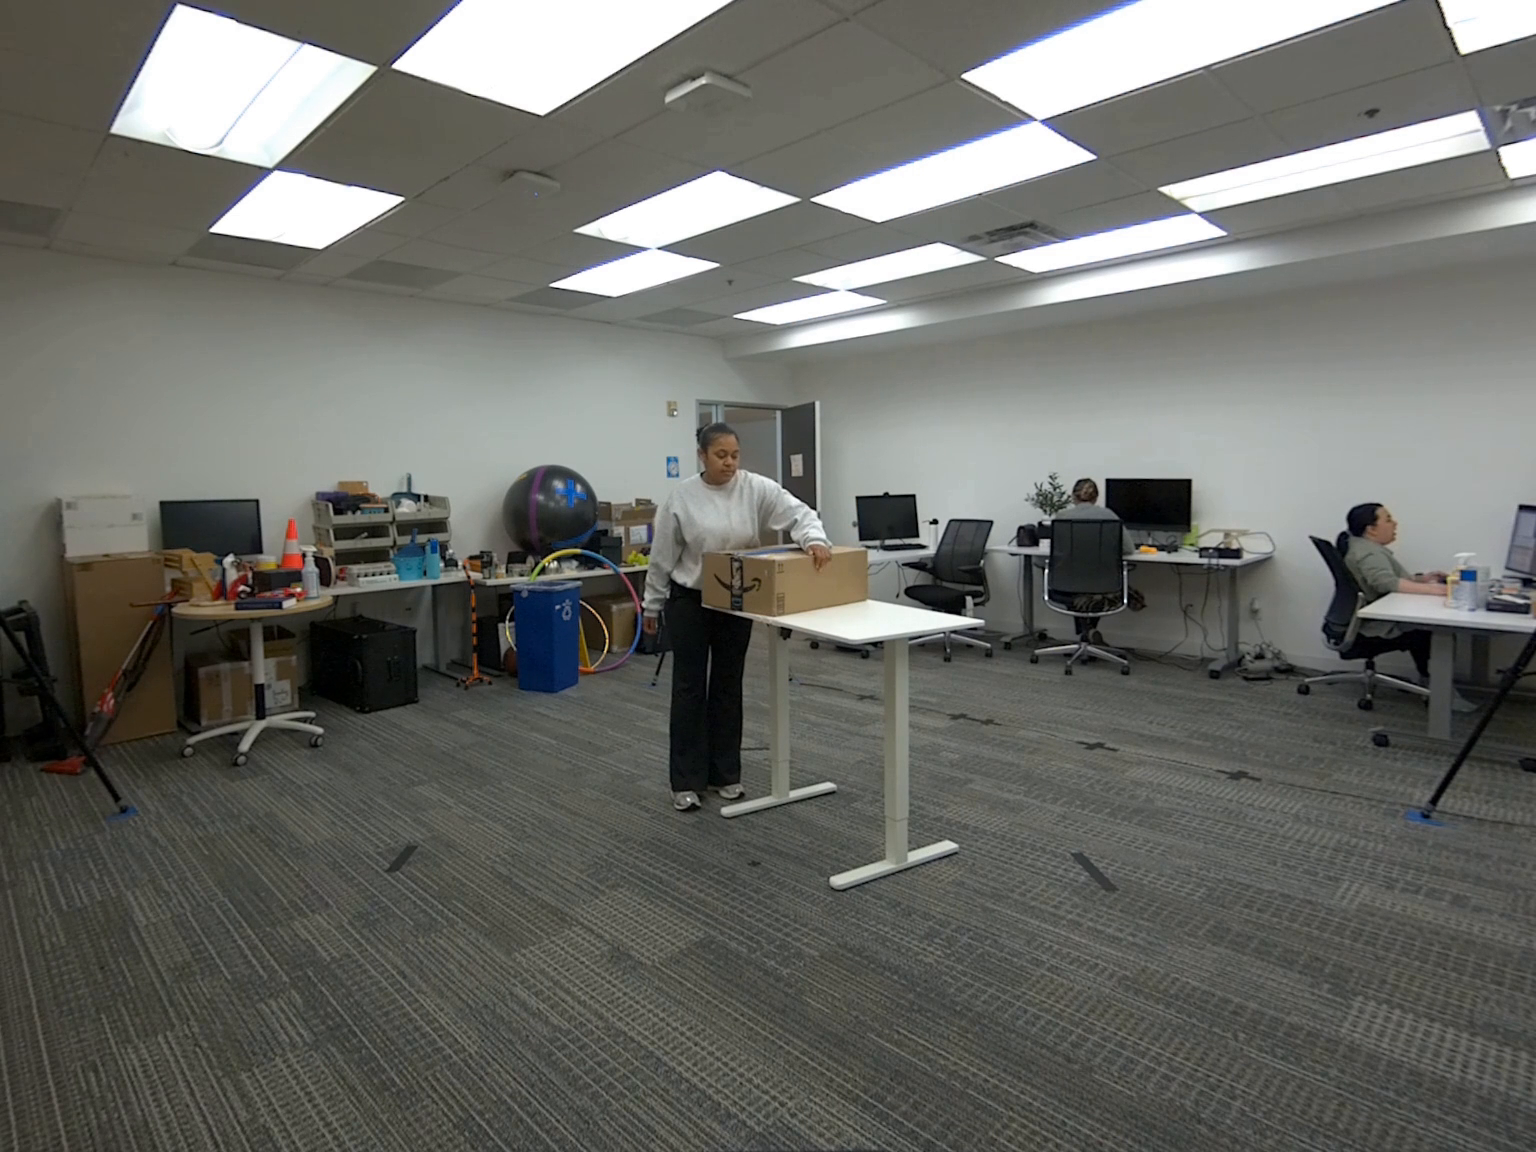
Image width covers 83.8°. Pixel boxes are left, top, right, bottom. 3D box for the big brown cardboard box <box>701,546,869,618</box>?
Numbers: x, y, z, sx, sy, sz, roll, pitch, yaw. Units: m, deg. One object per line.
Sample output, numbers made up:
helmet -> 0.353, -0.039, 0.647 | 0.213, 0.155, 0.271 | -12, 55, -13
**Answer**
big brown cardboard box -> 0.067, 0.005, 3.509 | 0.573, 0.232, 0.431 | -5, 8, -44
